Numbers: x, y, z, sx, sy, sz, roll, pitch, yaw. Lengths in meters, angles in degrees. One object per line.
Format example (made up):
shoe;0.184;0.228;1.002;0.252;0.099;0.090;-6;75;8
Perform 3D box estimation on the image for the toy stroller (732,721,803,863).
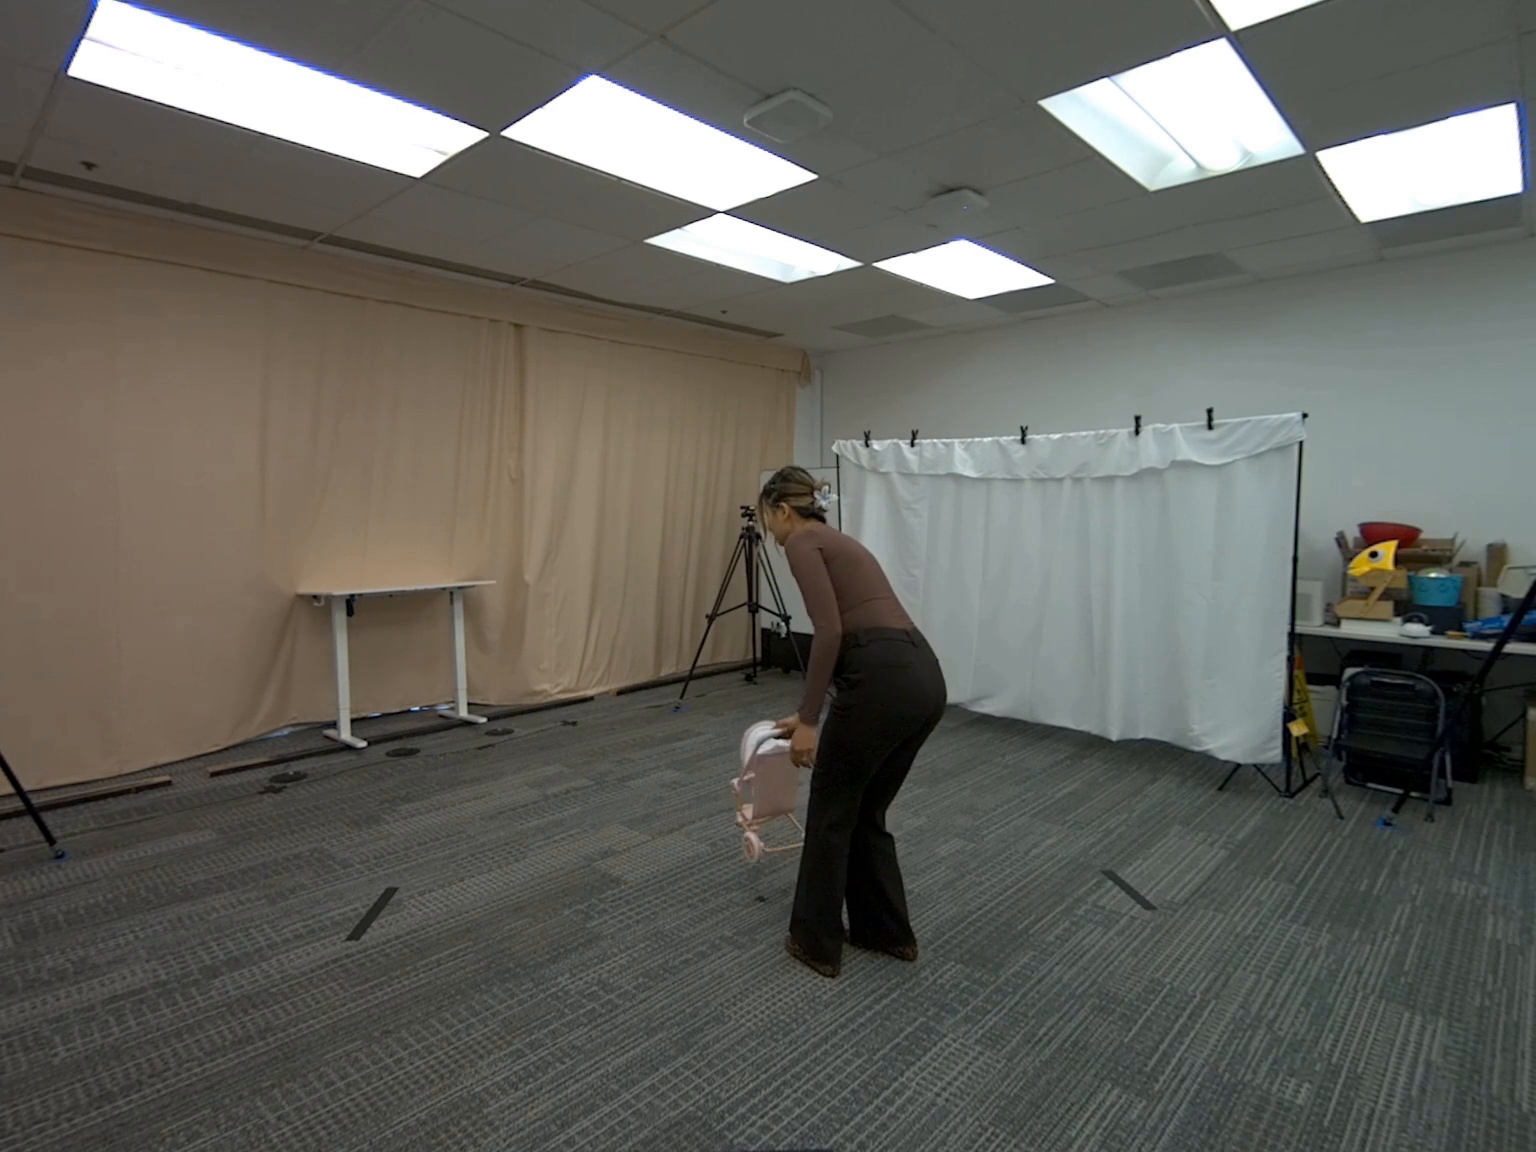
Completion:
toy stroller;0.012;0.773;3.073;0.276;0.533;0.349;-4;7;-21
